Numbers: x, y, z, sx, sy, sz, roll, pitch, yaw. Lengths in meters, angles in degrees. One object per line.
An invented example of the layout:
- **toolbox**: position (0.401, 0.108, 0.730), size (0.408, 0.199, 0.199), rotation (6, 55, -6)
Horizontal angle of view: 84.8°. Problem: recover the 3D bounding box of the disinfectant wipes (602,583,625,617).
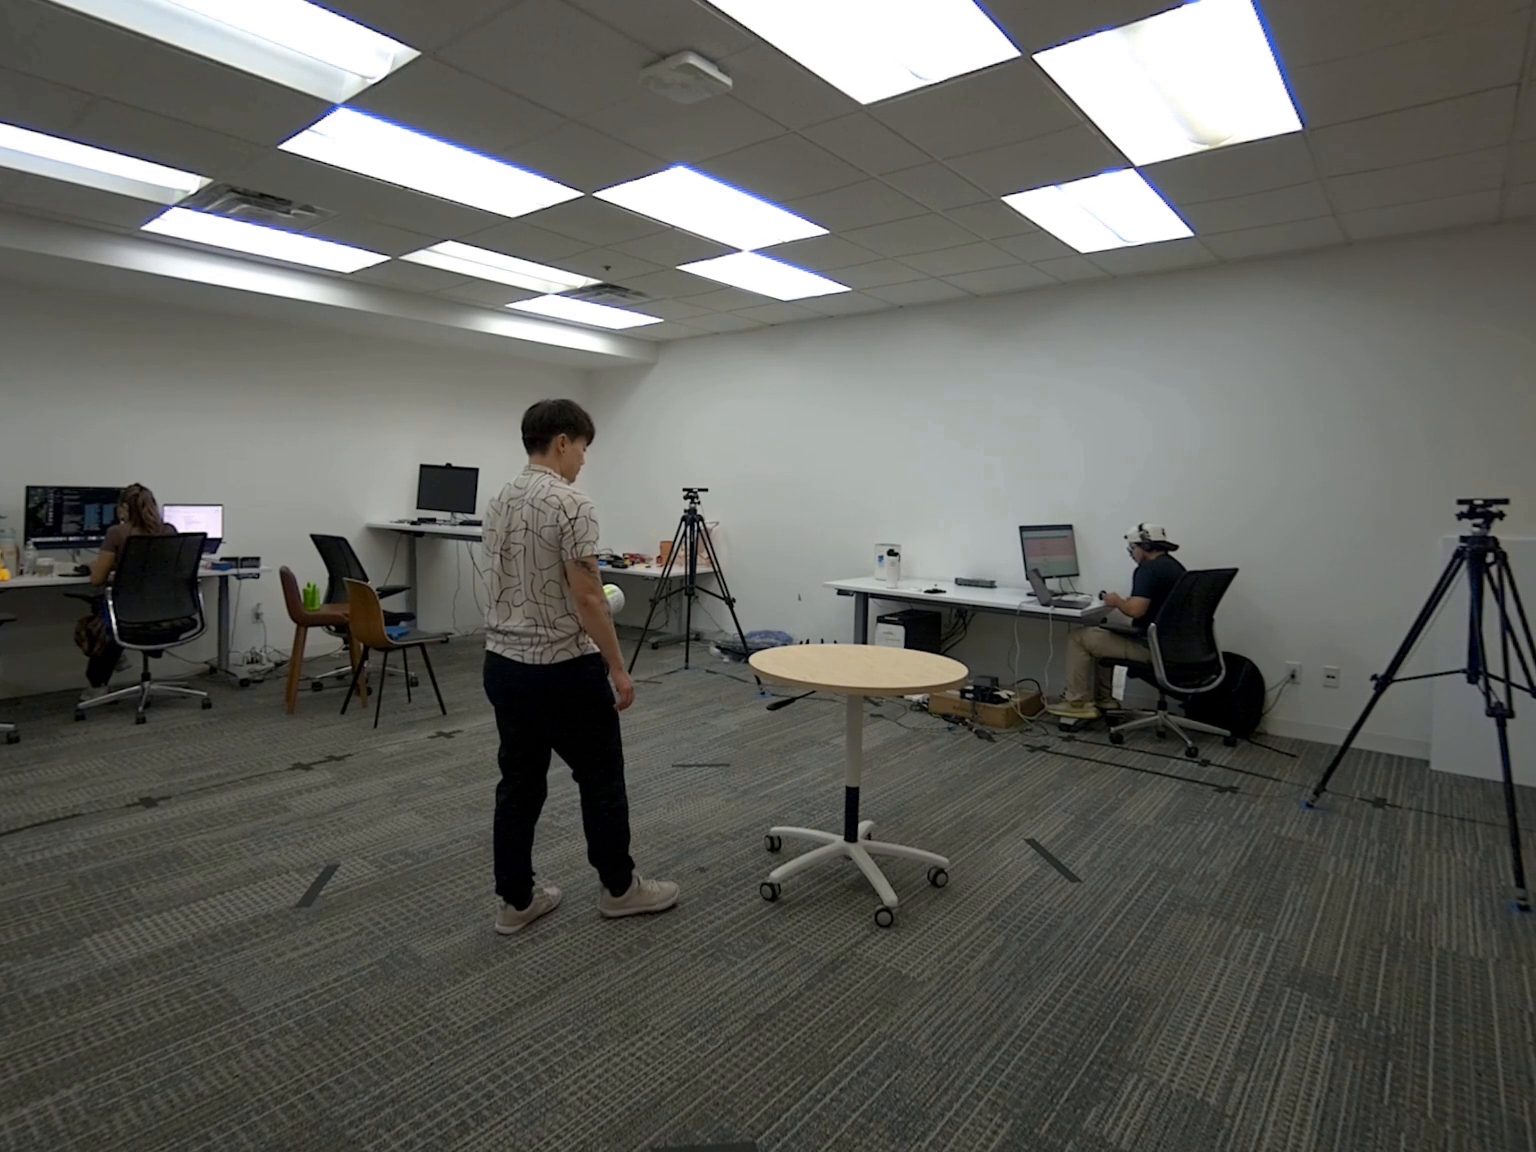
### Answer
- **disinfectant wipes**: position (-0.599, 0.105, 2.988), size (0.120, 0.116, 0.216), rotation (2, 15, 16)
